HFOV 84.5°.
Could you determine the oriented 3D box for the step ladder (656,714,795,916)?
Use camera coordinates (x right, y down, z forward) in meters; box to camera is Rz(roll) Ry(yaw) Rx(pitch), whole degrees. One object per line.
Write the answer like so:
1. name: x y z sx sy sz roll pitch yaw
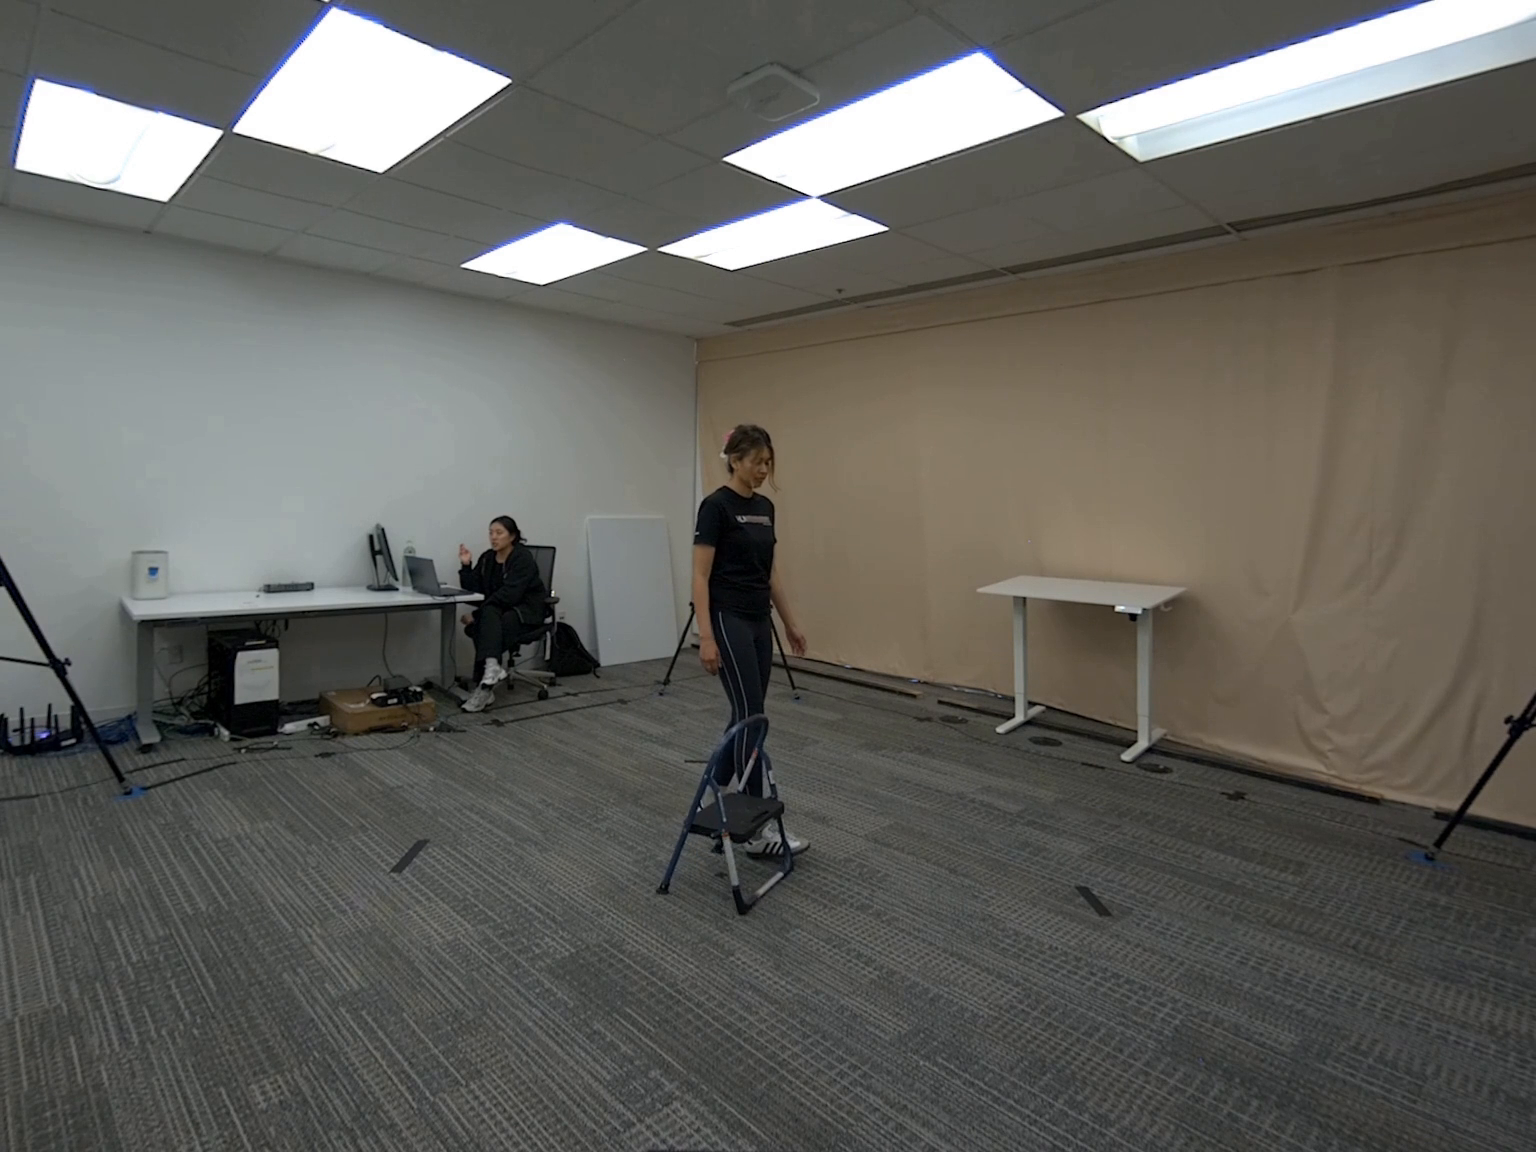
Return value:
1. step ladder: -0.152 0.806 3.041 0.356 0.605 0.423 1 3 26
